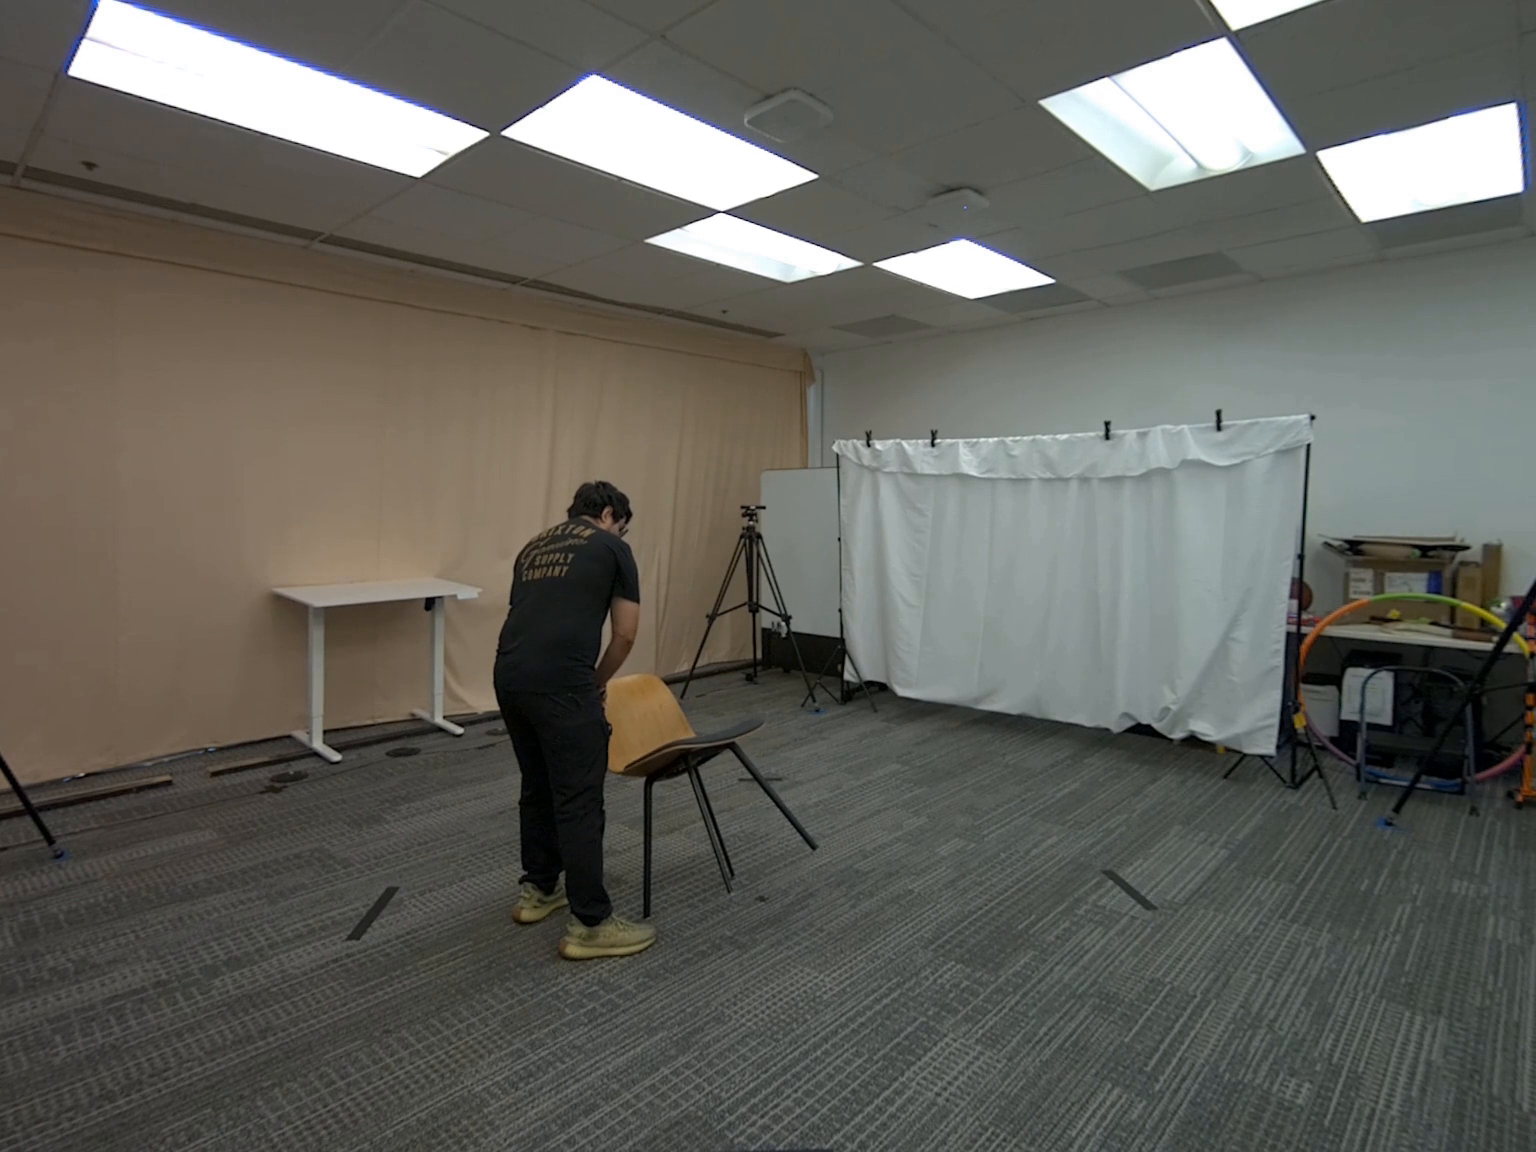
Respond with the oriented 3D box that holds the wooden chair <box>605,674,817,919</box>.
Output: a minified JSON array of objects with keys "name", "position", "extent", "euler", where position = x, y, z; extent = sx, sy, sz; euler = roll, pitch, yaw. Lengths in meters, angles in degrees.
[{"name":"wooden chair","position":[-0.259,0.664,2.975],"extent":[0.463,0.894,0.529],"euler":[-4,-28,-47]}]
